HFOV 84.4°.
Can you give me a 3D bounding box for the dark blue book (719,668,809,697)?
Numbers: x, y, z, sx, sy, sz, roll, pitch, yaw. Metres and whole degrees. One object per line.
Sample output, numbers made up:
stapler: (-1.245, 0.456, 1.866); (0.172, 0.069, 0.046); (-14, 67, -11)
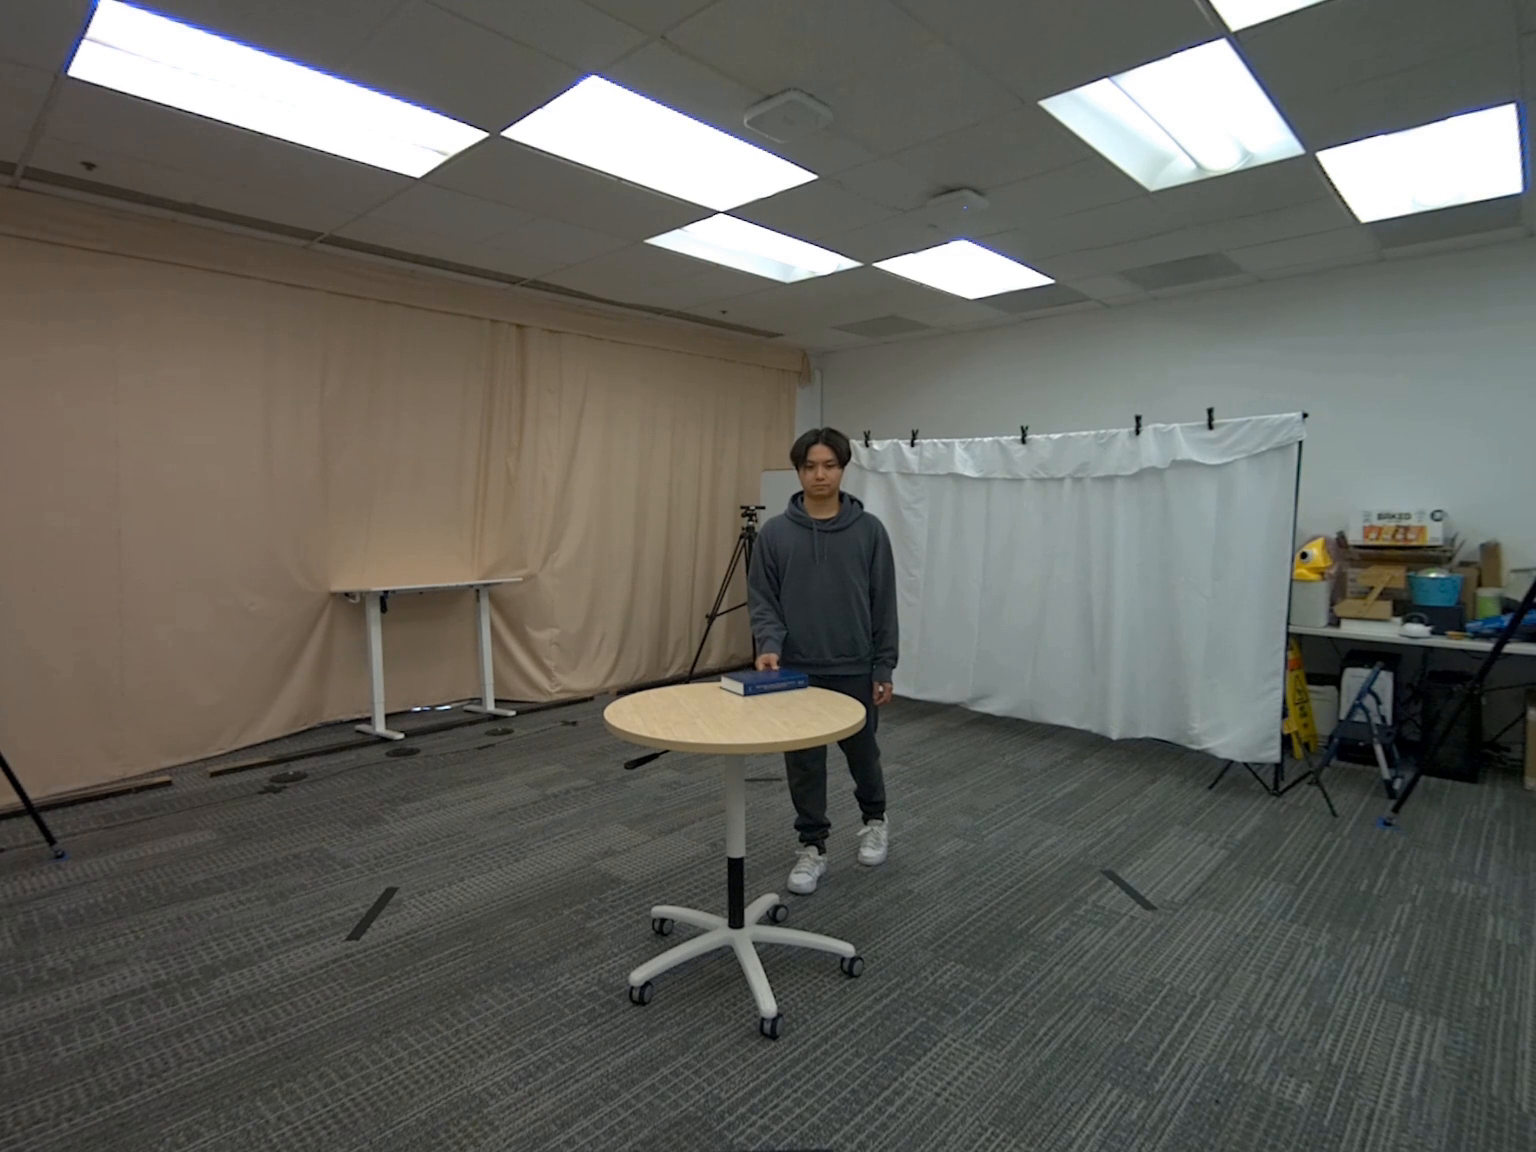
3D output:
dark blue book: (-0.020, 0.348, 2.754); (0.239, 0.045, 0.168); (-3, 5, -27)
